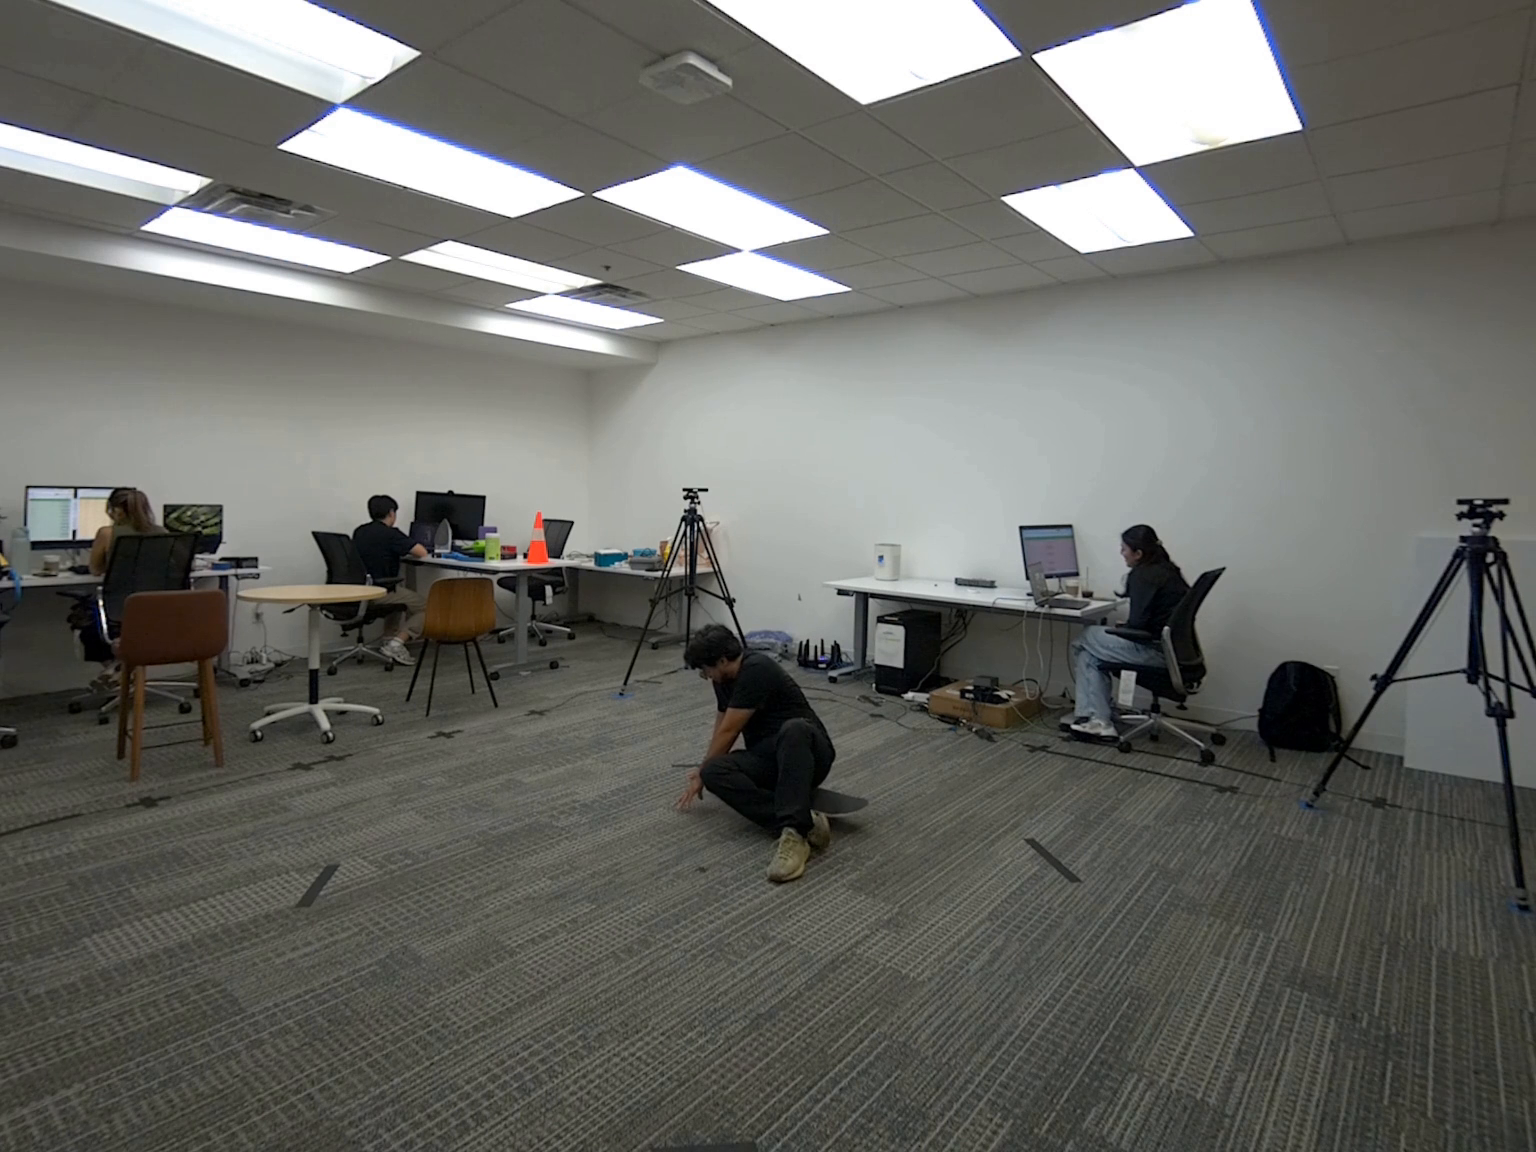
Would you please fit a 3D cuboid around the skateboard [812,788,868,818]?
[{"bbox_3d":[0.062,0.958,3.710,0.811,0.109,0.189,5,13,36],"label":"skateboard"}]
